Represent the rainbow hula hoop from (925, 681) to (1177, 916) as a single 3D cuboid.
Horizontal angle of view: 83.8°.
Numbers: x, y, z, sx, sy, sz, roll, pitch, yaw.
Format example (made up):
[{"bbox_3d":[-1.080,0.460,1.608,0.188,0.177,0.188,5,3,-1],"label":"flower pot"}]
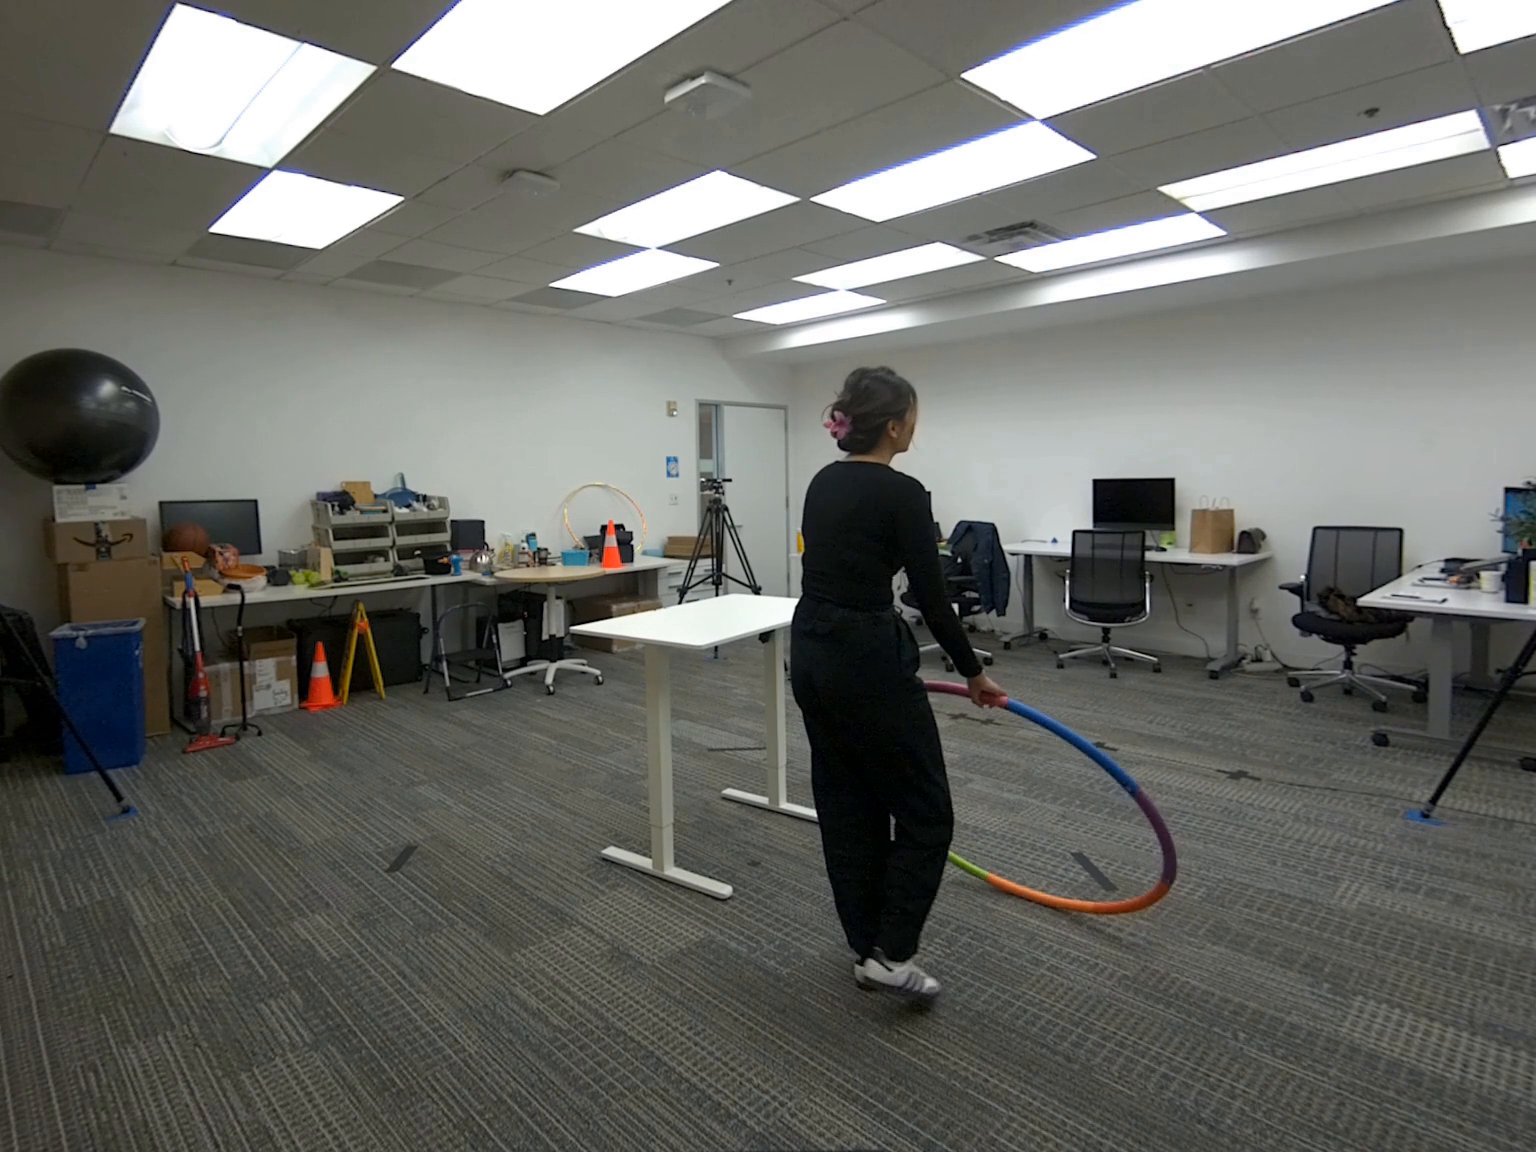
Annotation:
[{"bbox_3d":[0.704,0.682,2.587,1.009,0.949,0.035,4,41,43],"label":"rainbow hula hoop"}]
